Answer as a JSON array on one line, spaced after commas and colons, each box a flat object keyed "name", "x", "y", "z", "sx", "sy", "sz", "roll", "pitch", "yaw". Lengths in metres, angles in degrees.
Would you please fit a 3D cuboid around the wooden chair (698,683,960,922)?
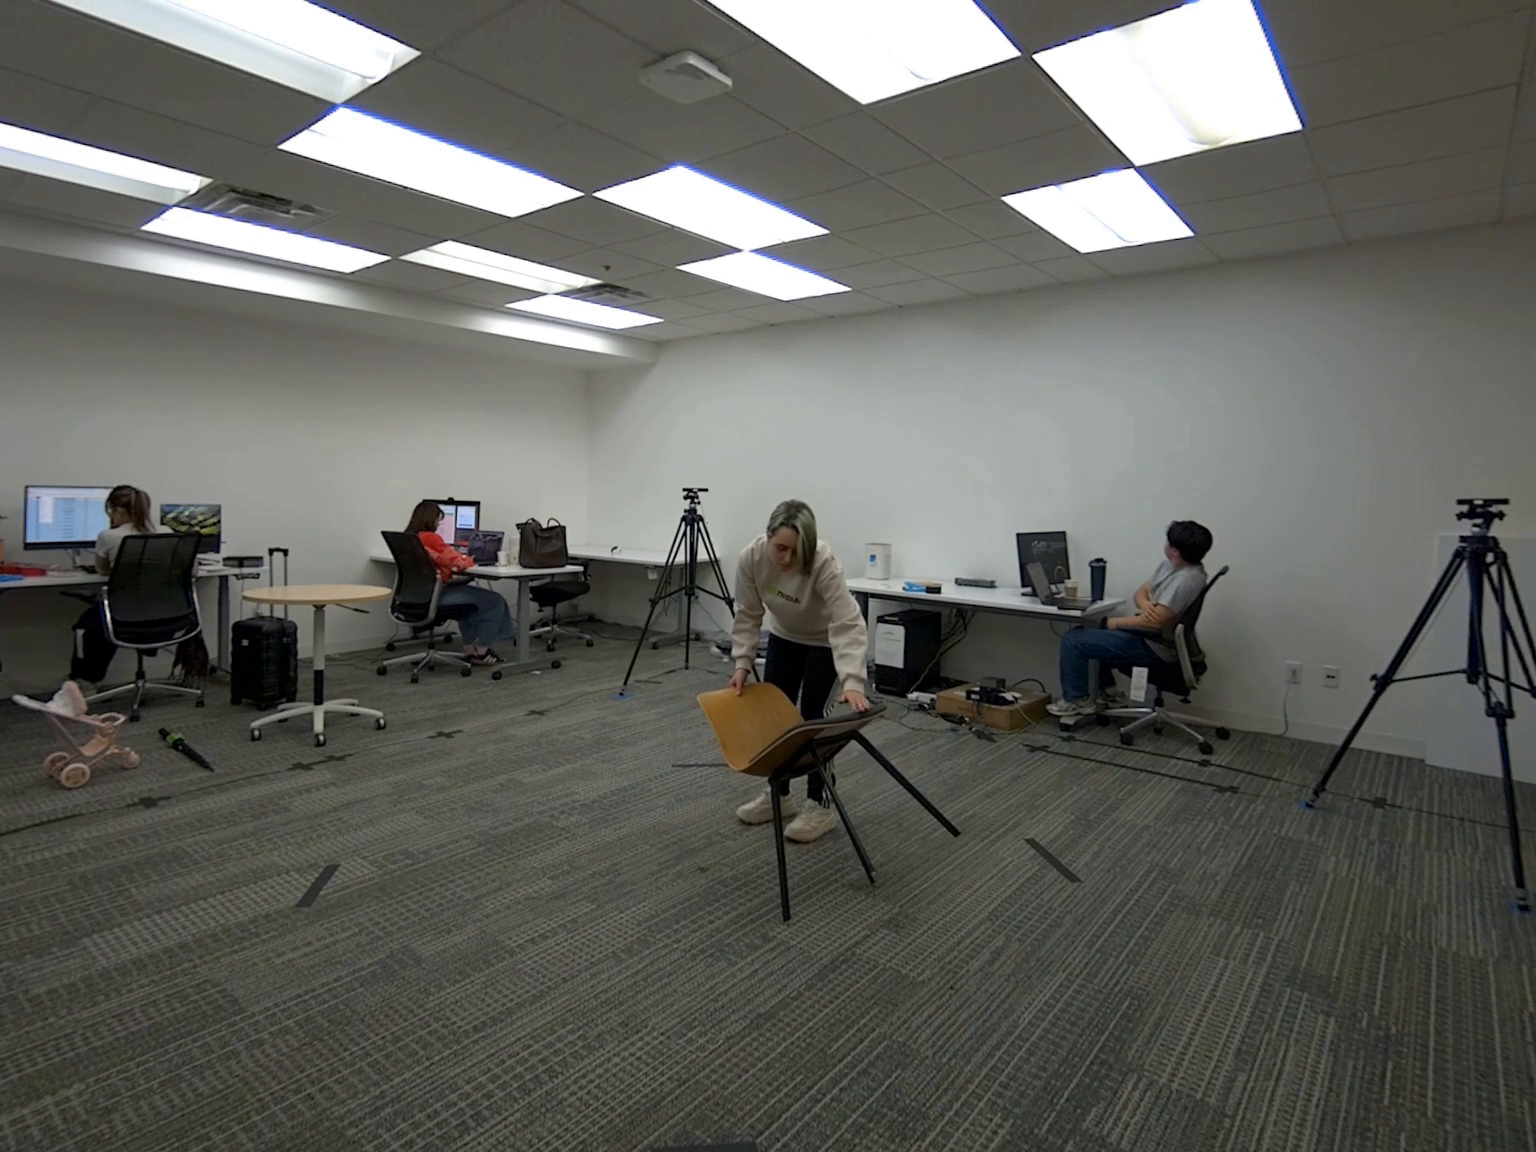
[{"name": "wooden chair", "x": 0.155, "y": 0.617, "z": 2.921, "sx": 0.463, "sy": 0.908, "sz": 0.521, "roll": -2, "pitch": -40, "yaw": -42}]
